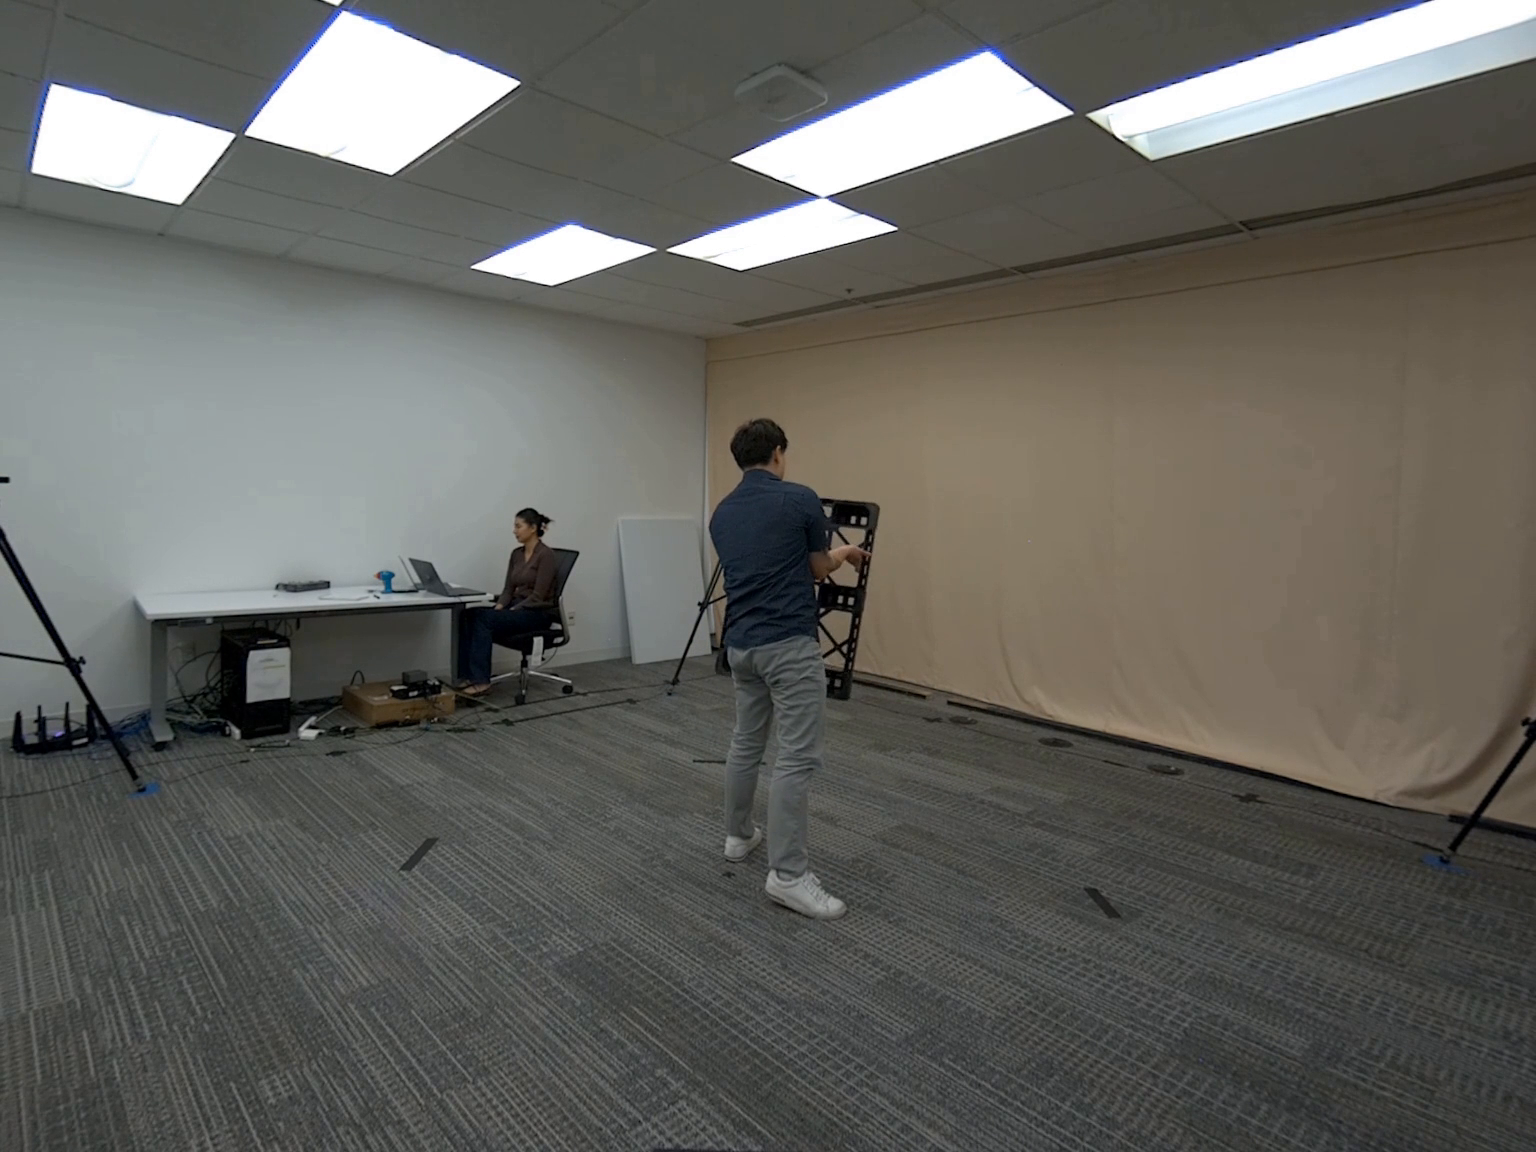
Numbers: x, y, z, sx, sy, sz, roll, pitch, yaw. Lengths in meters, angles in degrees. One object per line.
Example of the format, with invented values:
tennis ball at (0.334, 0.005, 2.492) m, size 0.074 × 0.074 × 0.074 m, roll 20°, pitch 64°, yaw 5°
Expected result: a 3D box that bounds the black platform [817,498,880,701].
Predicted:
black platform at (0.124, 0.074, 3.536) m, size 0.618 × 0.808 × 0.140 m, roll 8°, pitch -6°, yaw 27°
